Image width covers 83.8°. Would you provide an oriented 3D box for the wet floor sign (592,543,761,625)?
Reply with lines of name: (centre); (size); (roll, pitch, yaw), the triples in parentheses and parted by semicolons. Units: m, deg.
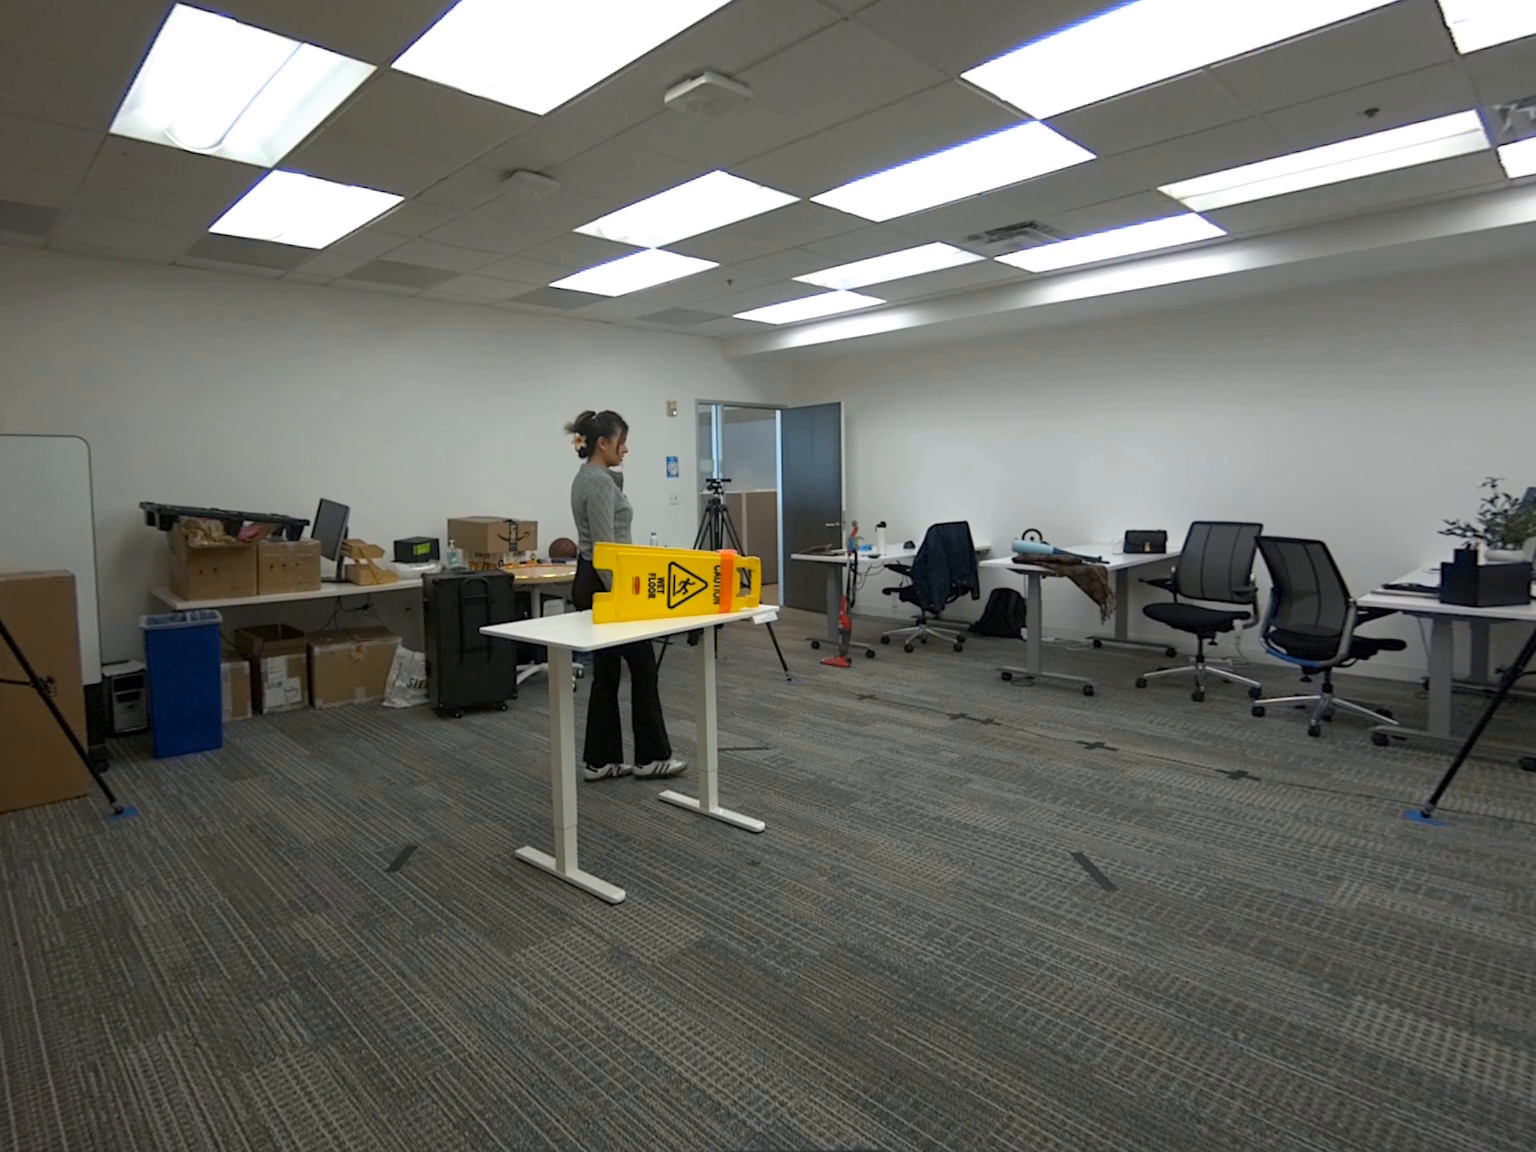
wet floor sign: (-0.349, 0.024, 3.296); (0.640, 0.281, 0.293); (1, 5, -9)
